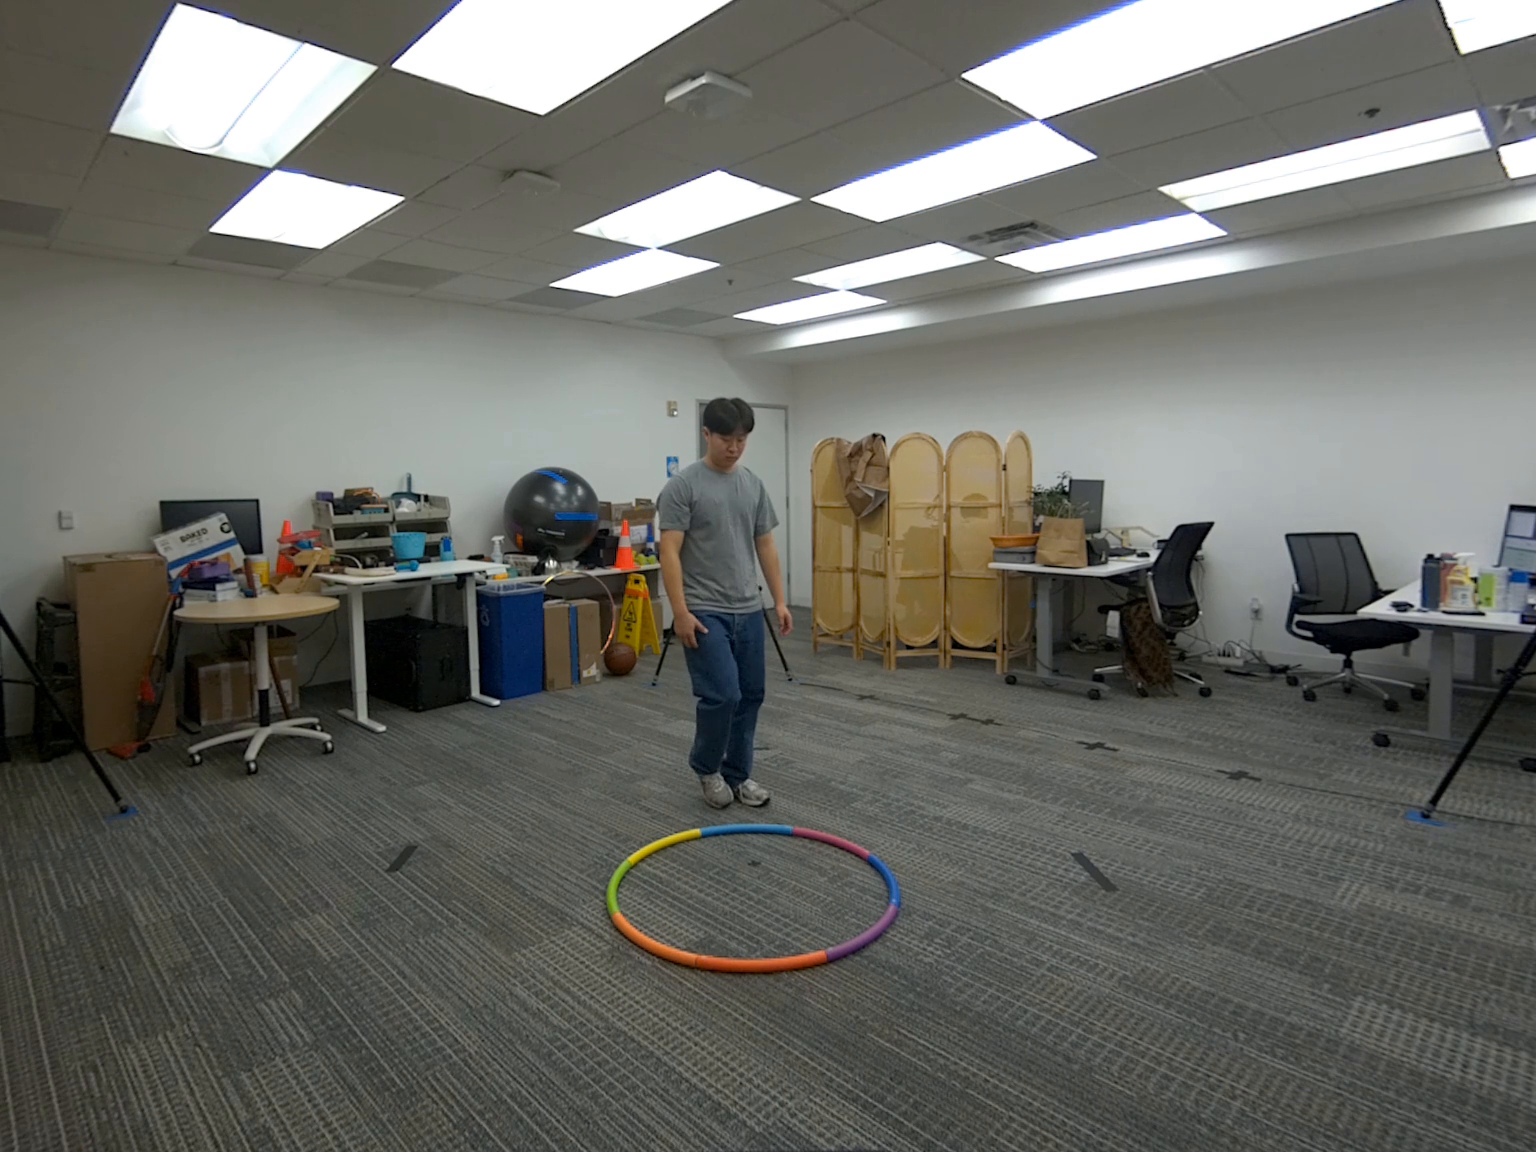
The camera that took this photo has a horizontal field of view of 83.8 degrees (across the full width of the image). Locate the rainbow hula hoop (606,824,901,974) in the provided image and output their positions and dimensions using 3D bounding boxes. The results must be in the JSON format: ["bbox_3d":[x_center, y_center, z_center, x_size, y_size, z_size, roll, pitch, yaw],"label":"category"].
[{"bbox_3d":[-0.055,1.039,2.900,0.978,0.035,0.984,-1,7,-2],"label":"rainbow hula hoop"}]
